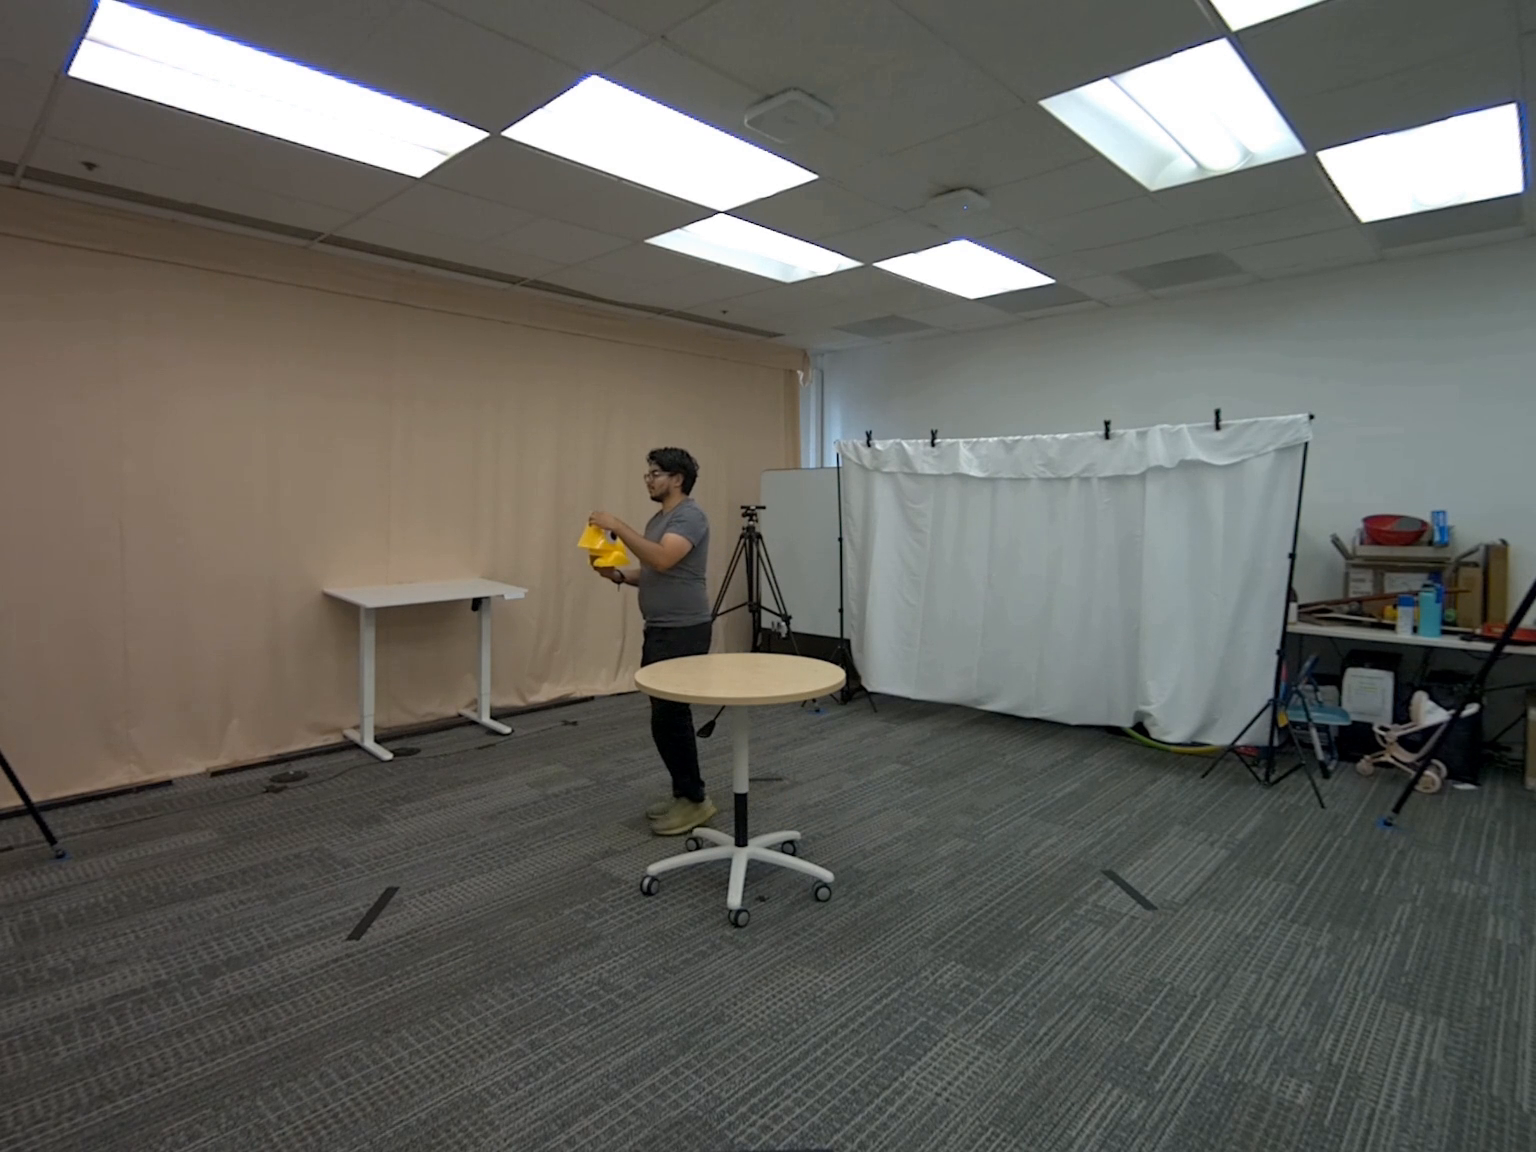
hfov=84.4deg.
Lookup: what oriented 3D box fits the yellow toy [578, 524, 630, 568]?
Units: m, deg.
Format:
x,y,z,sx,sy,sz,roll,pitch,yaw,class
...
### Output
x,y,z,sx,sy,sz,roll,pitch,yaw,class
-0.707,-0.163,3.662,0.188,0.230,0.211,-3,4,-31,yellow toy
